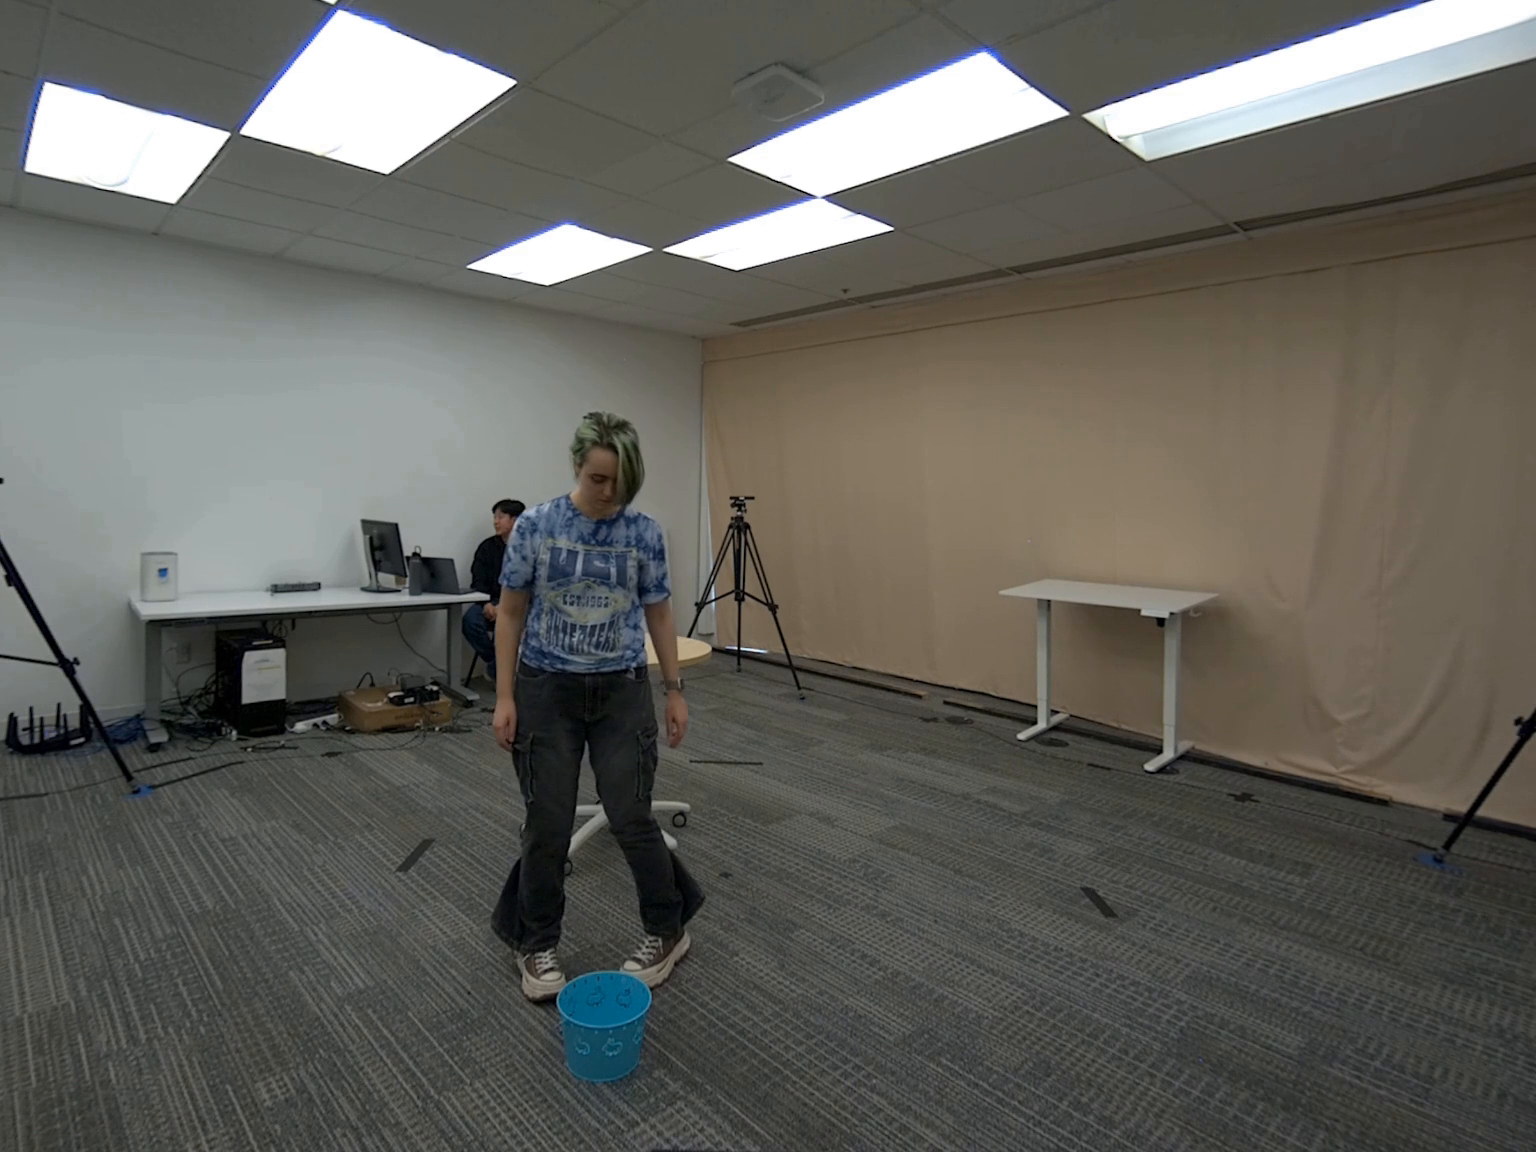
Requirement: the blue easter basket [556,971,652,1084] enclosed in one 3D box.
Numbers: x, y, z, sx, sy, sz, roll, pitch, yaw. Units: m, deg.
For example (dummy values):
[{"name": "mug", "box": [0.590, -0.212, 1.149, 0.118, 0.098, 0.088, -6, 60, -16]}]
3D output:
[{"name": "blue easter basket", "box": [-0.413, 1.121, 2.075, 0.243, 0.155, 0.245, 2, 6, -2]}]
